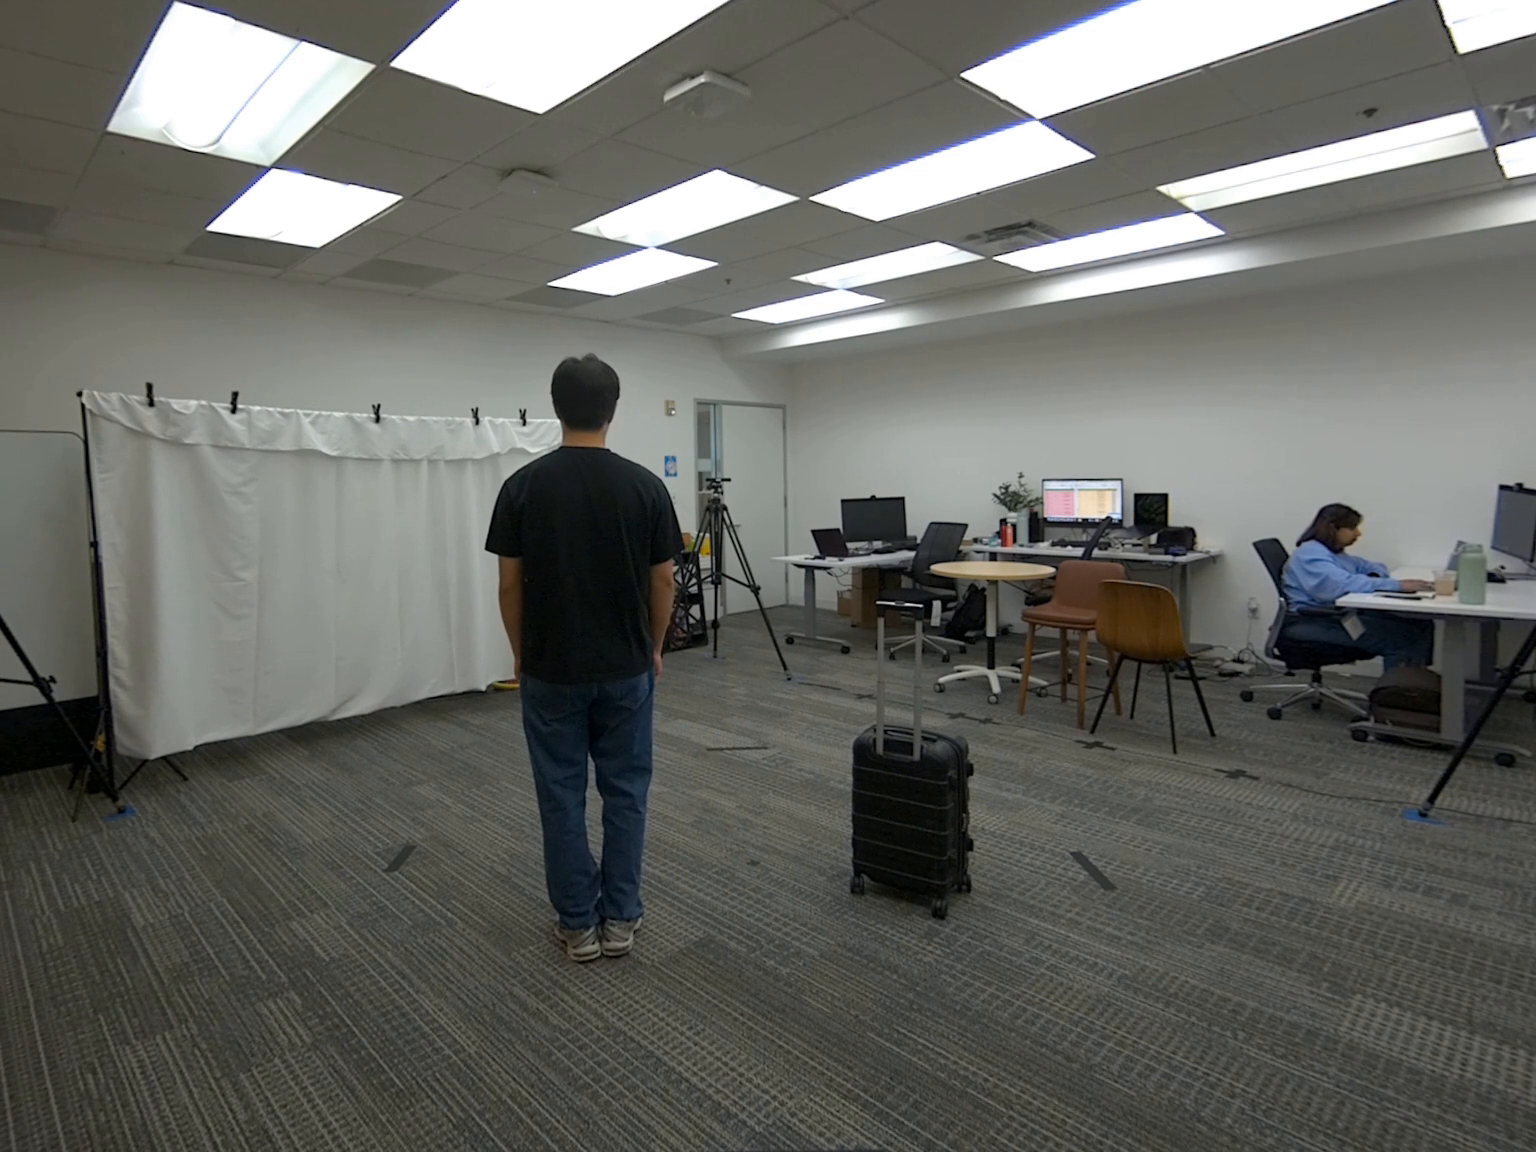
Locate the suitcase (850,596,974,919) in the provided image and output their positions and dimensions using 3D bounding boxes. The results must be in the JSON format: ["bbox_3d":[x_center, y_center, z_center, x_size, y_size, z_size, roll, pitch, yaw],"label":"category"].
[{"bbox_3d":[0.486,0.584,2.877,0.395,0.978,0.250,1,0,34],"label":"suitcase"}]
